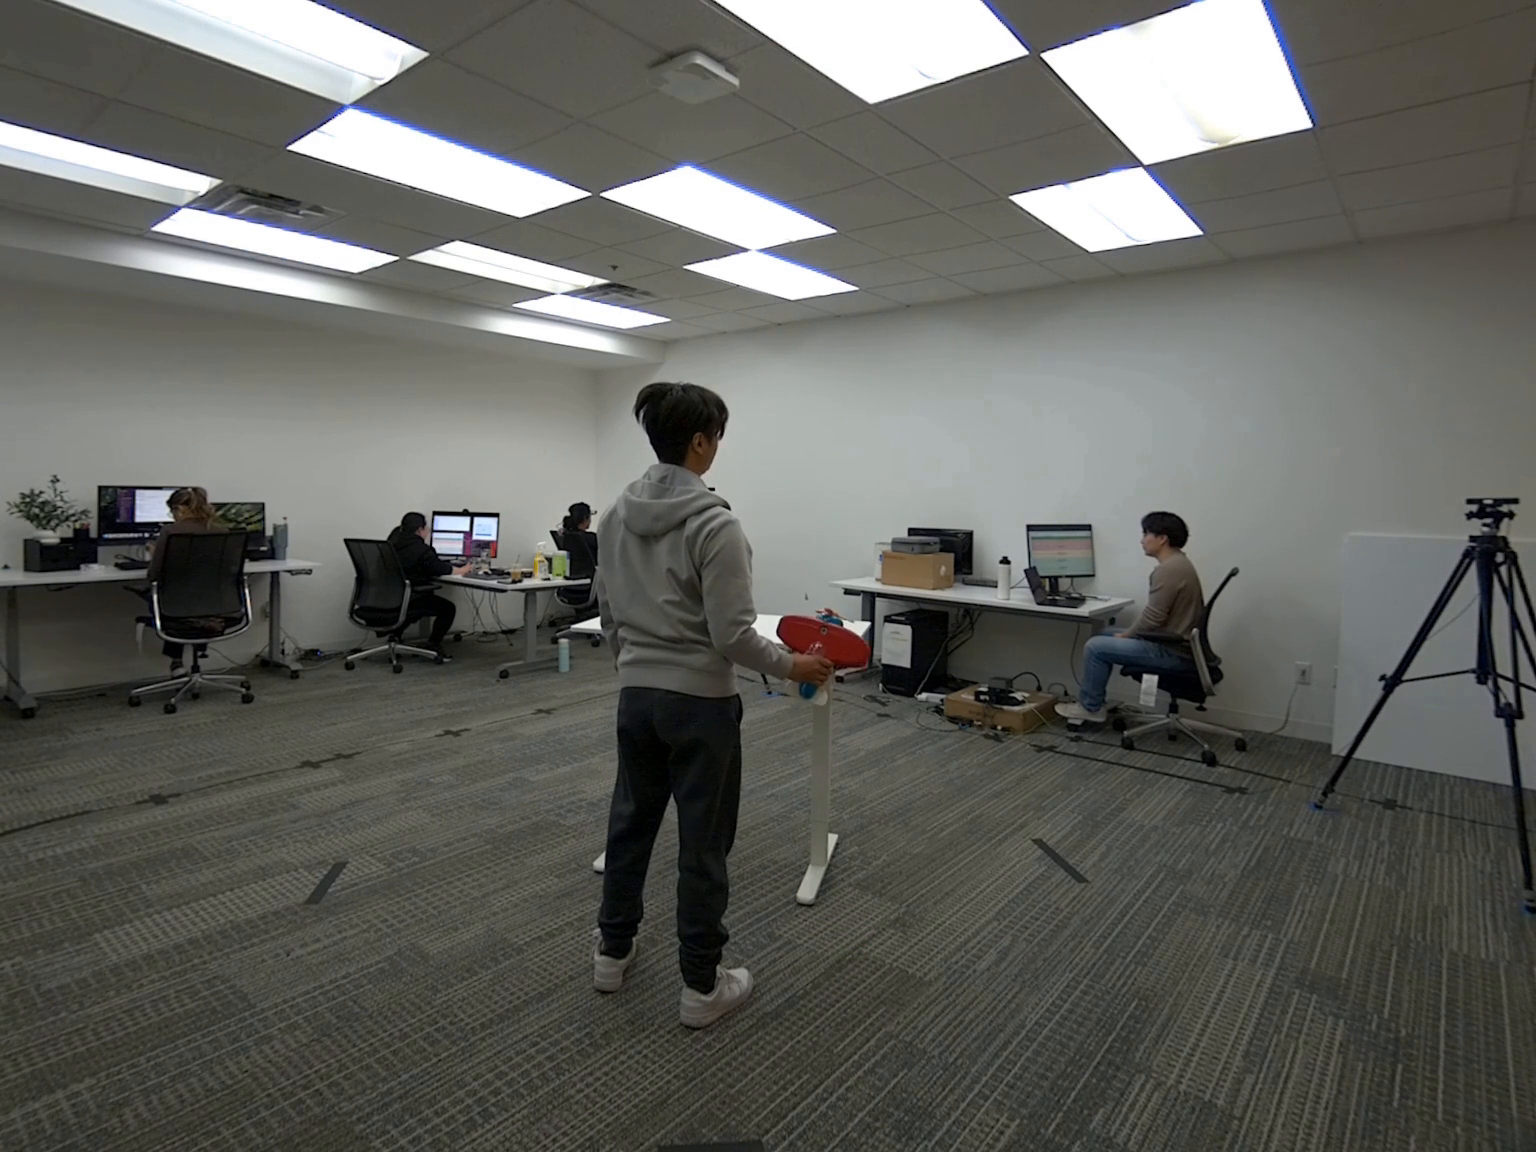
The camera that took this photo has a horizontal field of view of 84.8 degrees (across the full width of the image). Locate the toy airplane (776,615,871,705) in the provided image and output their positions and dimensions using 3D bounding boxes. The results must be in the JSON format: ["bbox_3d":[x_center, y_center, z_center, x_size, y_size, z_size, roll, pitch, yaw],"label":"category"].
[{"bbox_3d":[0.152,0.229,2.368,0.251,0.266,0.152,-9,-28,1],"label":"toy airplane"}]
